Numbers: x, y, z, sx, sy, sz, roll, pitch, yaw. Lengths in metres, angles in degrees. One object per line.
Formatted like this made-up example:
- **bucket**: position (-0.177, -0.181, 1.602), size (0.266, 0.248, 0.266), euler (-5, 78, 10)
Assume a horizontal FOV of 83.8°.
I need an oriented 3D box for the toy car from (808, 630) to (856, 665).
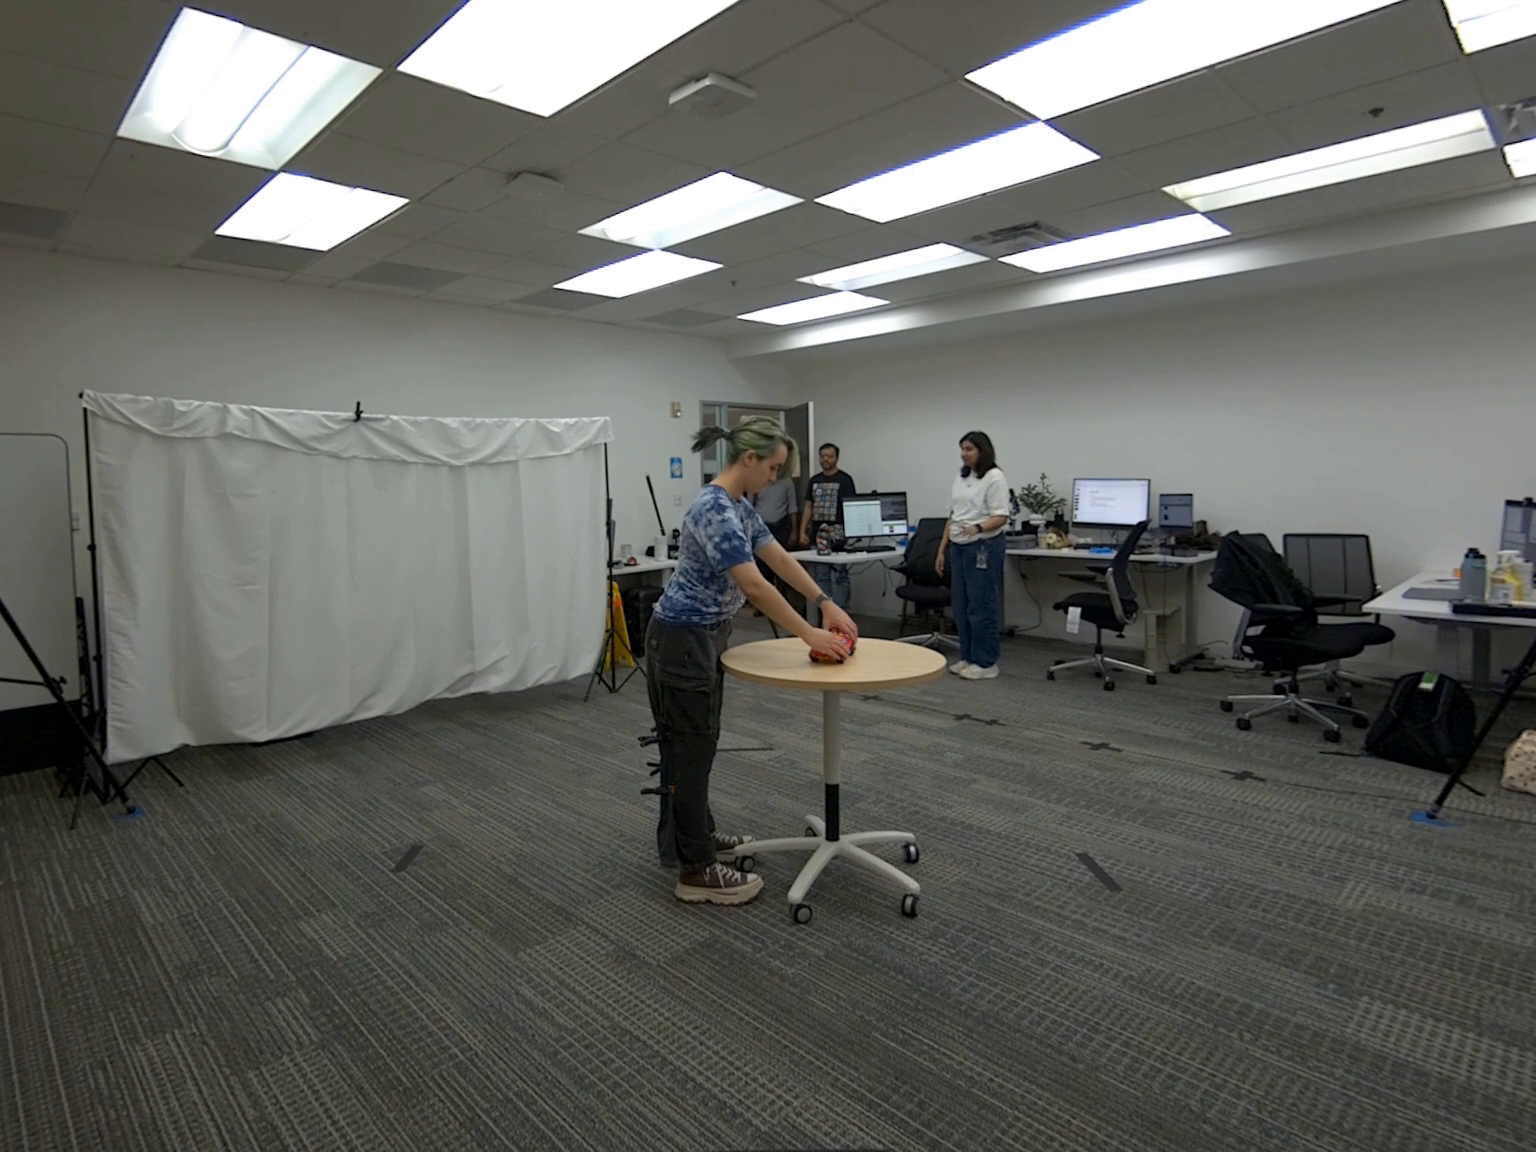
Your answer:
- **toy car**: position (0.229, 0.245, 2.931), size (0.133, 0.082, 0.253), euler (4, 18, 19)
